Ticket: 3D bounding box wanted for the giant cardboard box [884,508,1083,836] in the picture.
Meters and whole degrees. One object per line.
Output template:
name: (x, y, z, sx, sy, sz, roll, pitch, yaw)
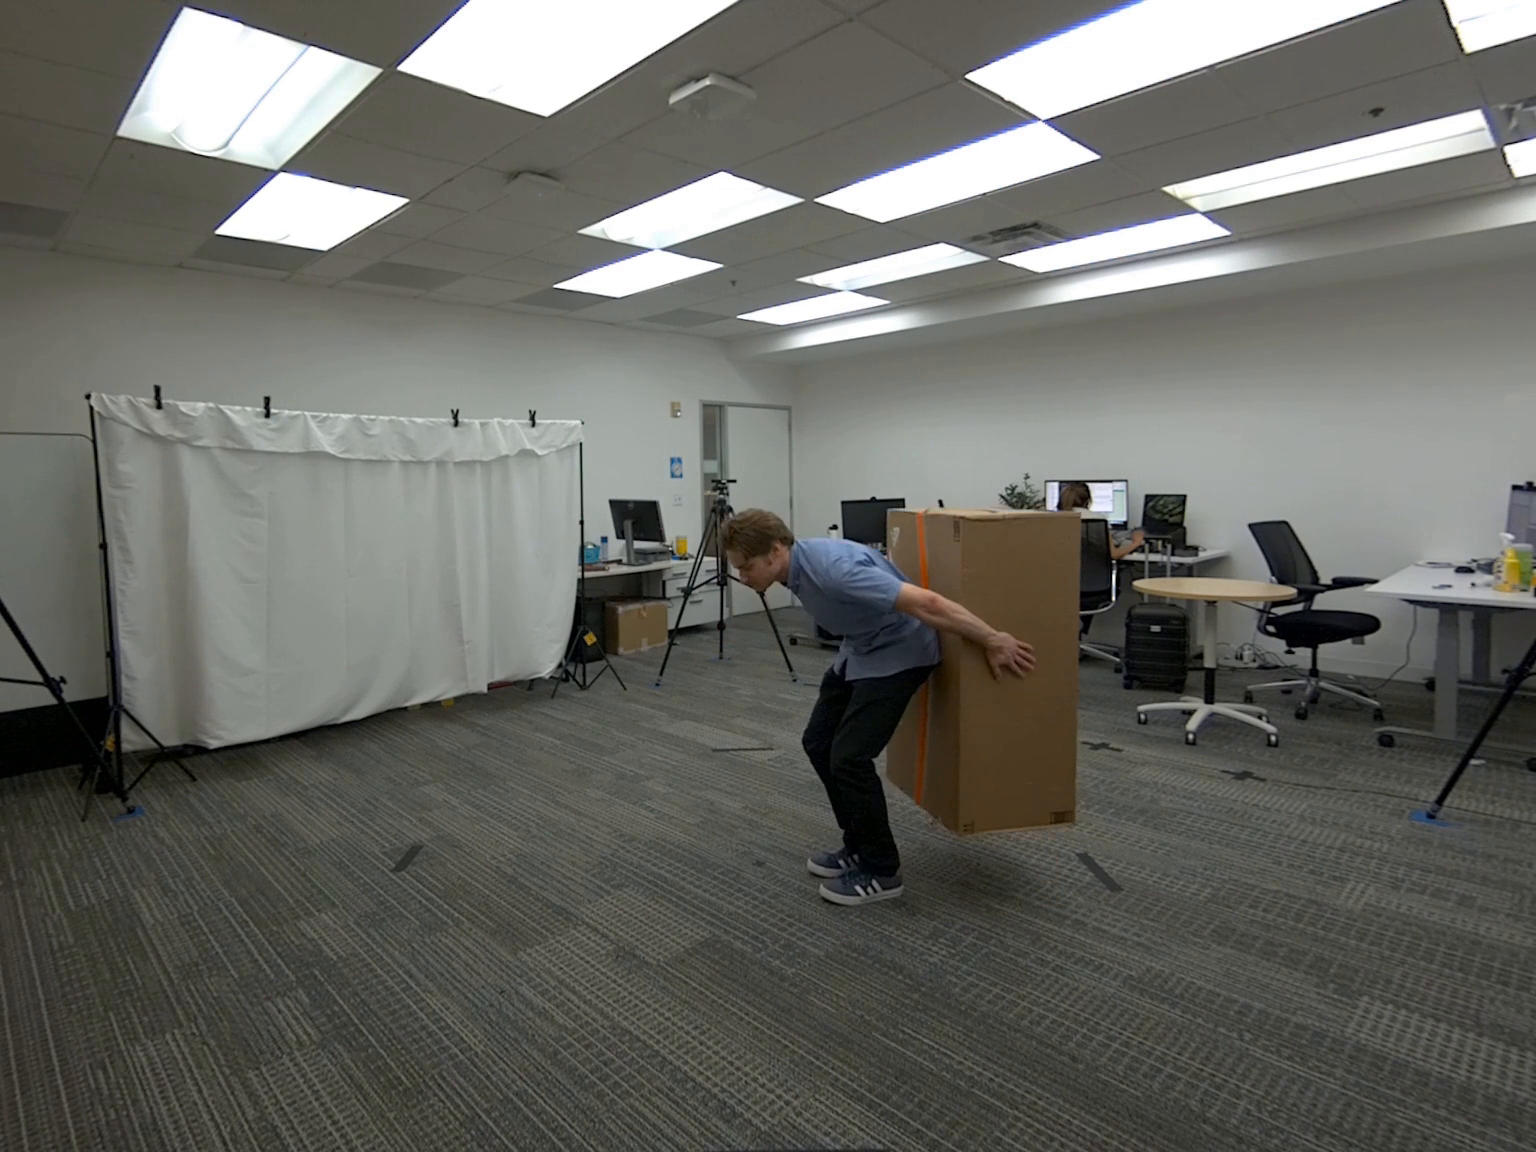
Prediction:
giant cardboard box: (0.734, 0.295, 2.978, 0.440, 1.024, 0.595, -1, 4, -16)
